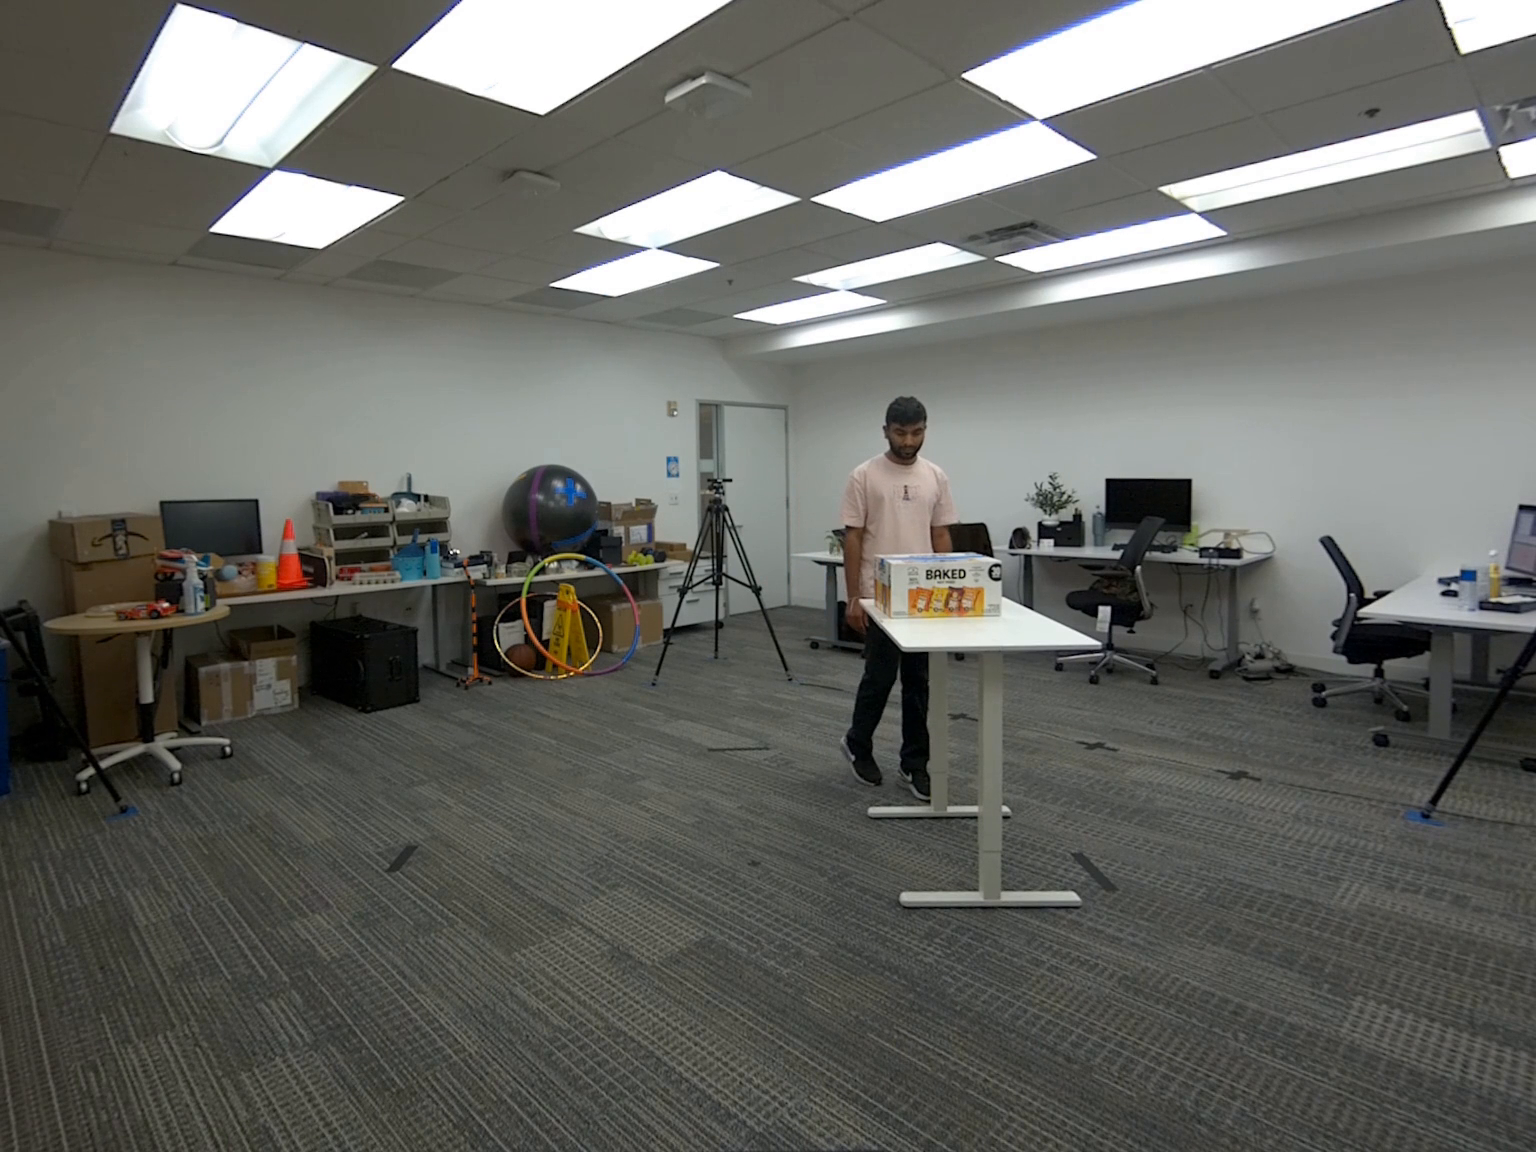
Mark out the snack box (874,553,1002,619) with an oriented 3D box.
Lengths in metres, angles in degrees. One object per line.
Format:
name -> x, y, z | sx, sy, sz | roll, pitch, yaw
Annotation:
snack box -> 0.635, 0.032, 3.266 | 0.404, 0.205, 0.343 | -1, 6, -3
